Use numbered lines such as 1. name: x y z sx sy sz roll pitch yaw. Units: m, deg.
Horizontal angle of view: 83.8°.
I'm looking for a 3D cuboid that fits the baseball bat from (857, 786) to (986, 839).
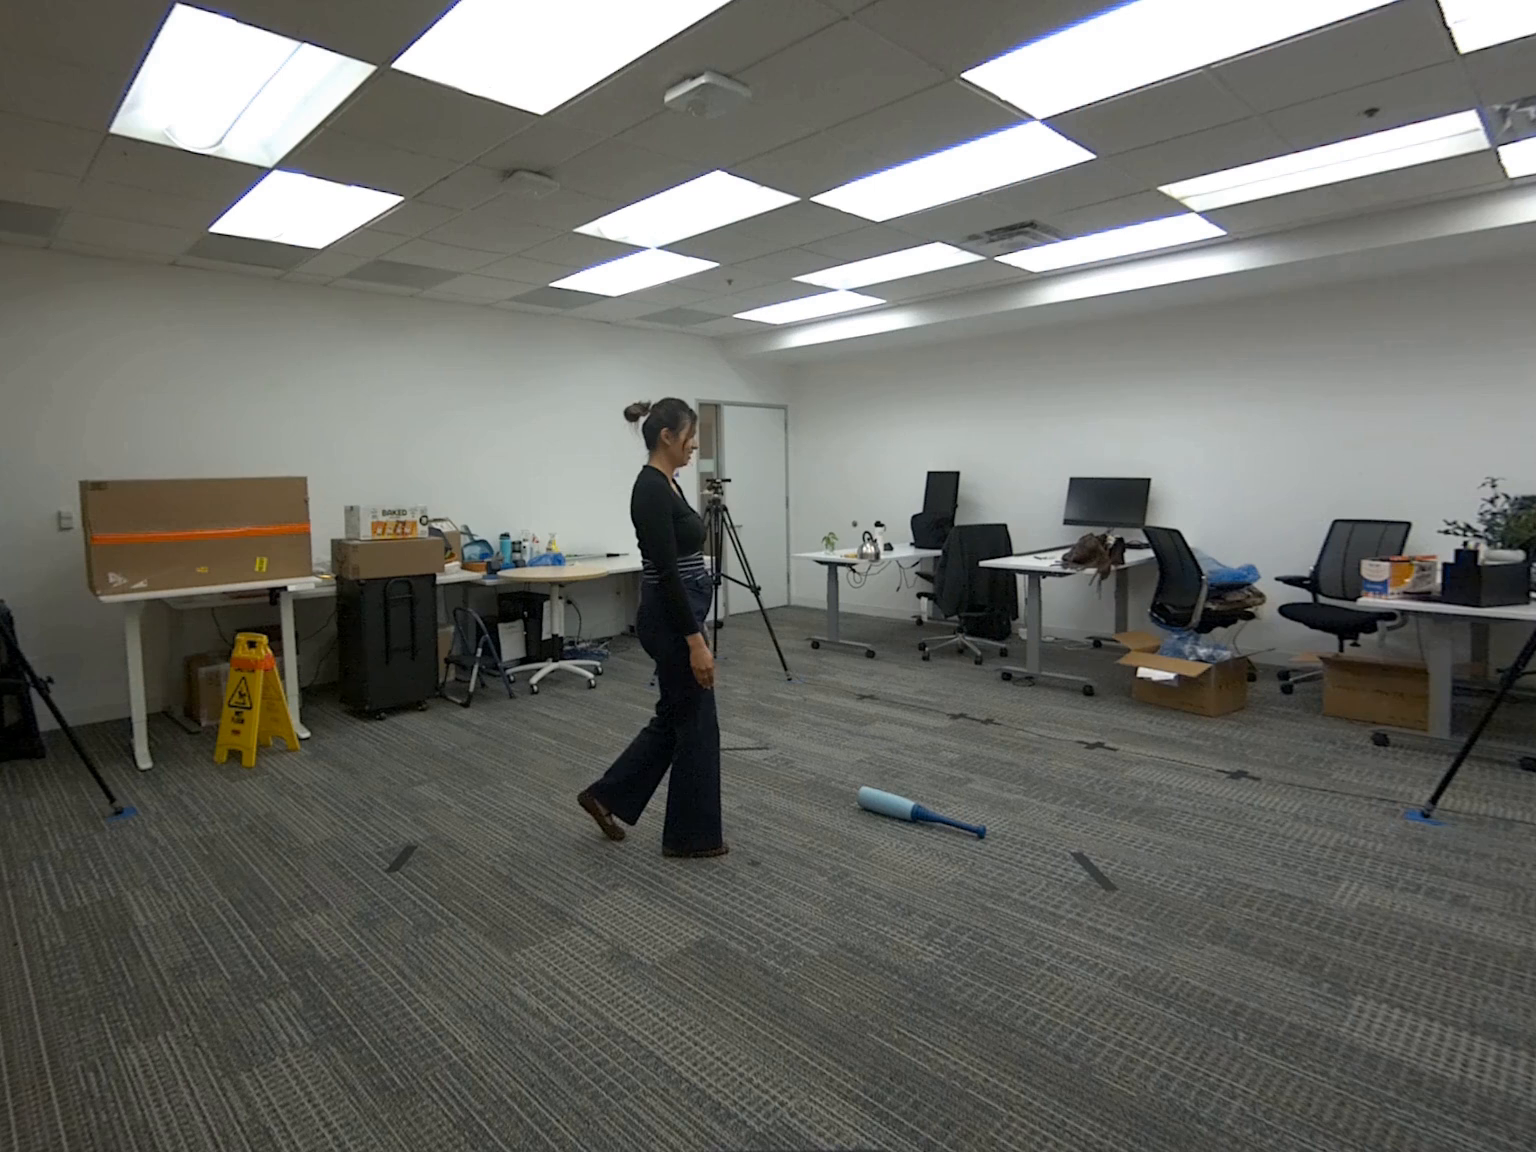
1. baseball bat: 0.614 0.957 3.447 0.560 0.088 0.087 7 8 37
